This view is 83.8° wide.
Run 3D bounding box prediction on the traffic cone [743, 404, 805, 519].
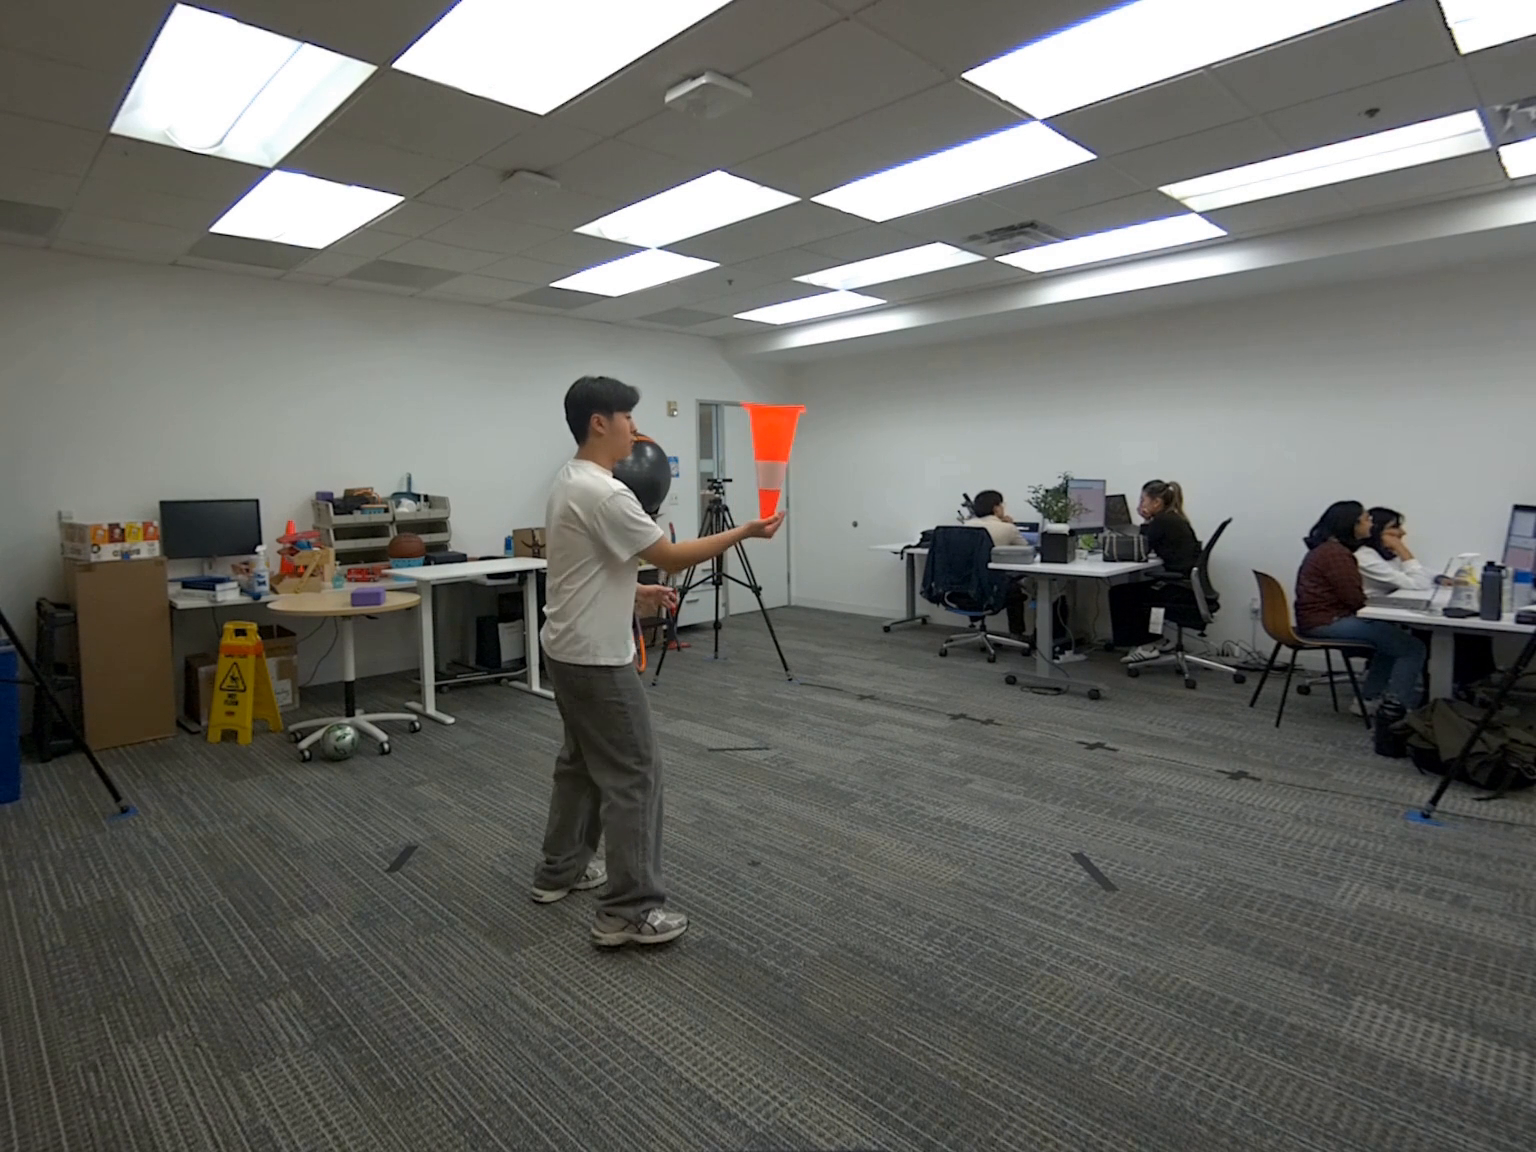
[{"bbox_3d":[0.016,-0.338,2.694,0.208,0.383,0.201,5,3,11],"label":"traffic cone"}]
